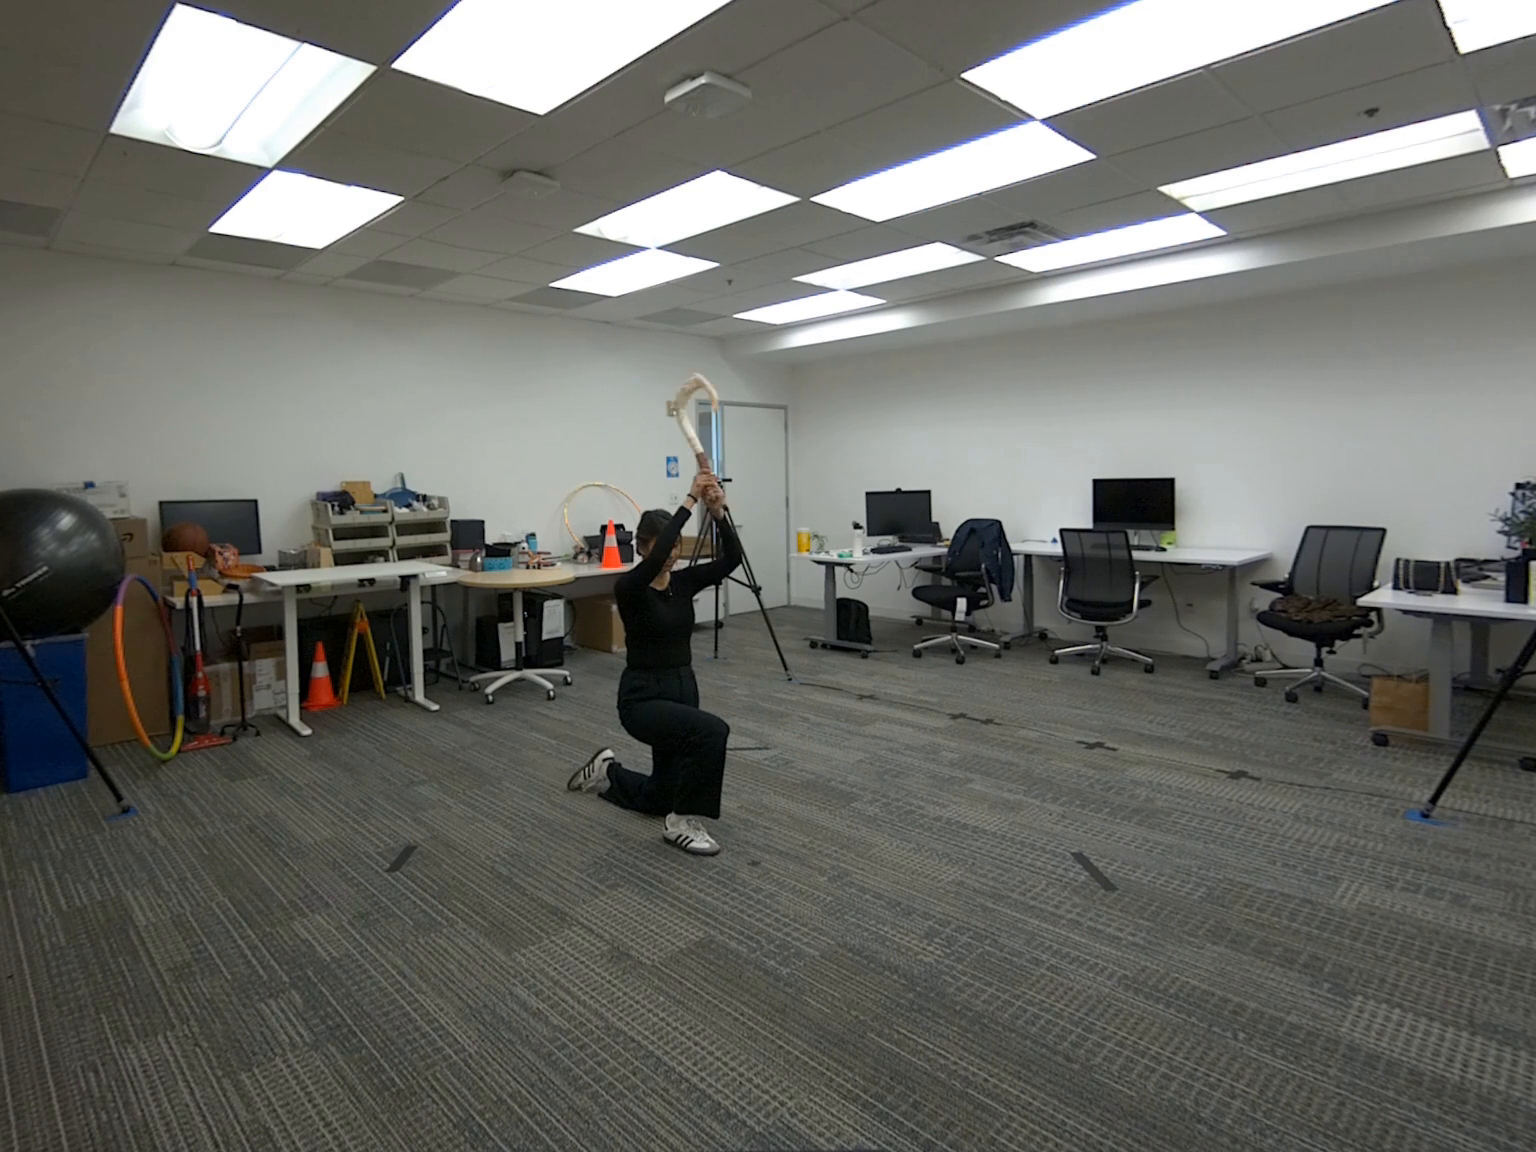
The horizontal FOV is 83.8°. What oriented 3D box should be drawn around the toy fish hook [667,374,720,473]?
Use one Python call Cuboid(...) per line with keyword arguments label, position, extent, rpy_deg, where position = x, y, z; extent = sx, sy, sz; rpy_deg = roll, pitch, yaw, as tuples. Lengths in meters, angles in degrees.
Cuboid(label="toy fish hook", position=(-0.235, -0.490, 3.286), extent=(0.047, 0.514, 0.227), rpy_deg=(-3, -18, -45))
